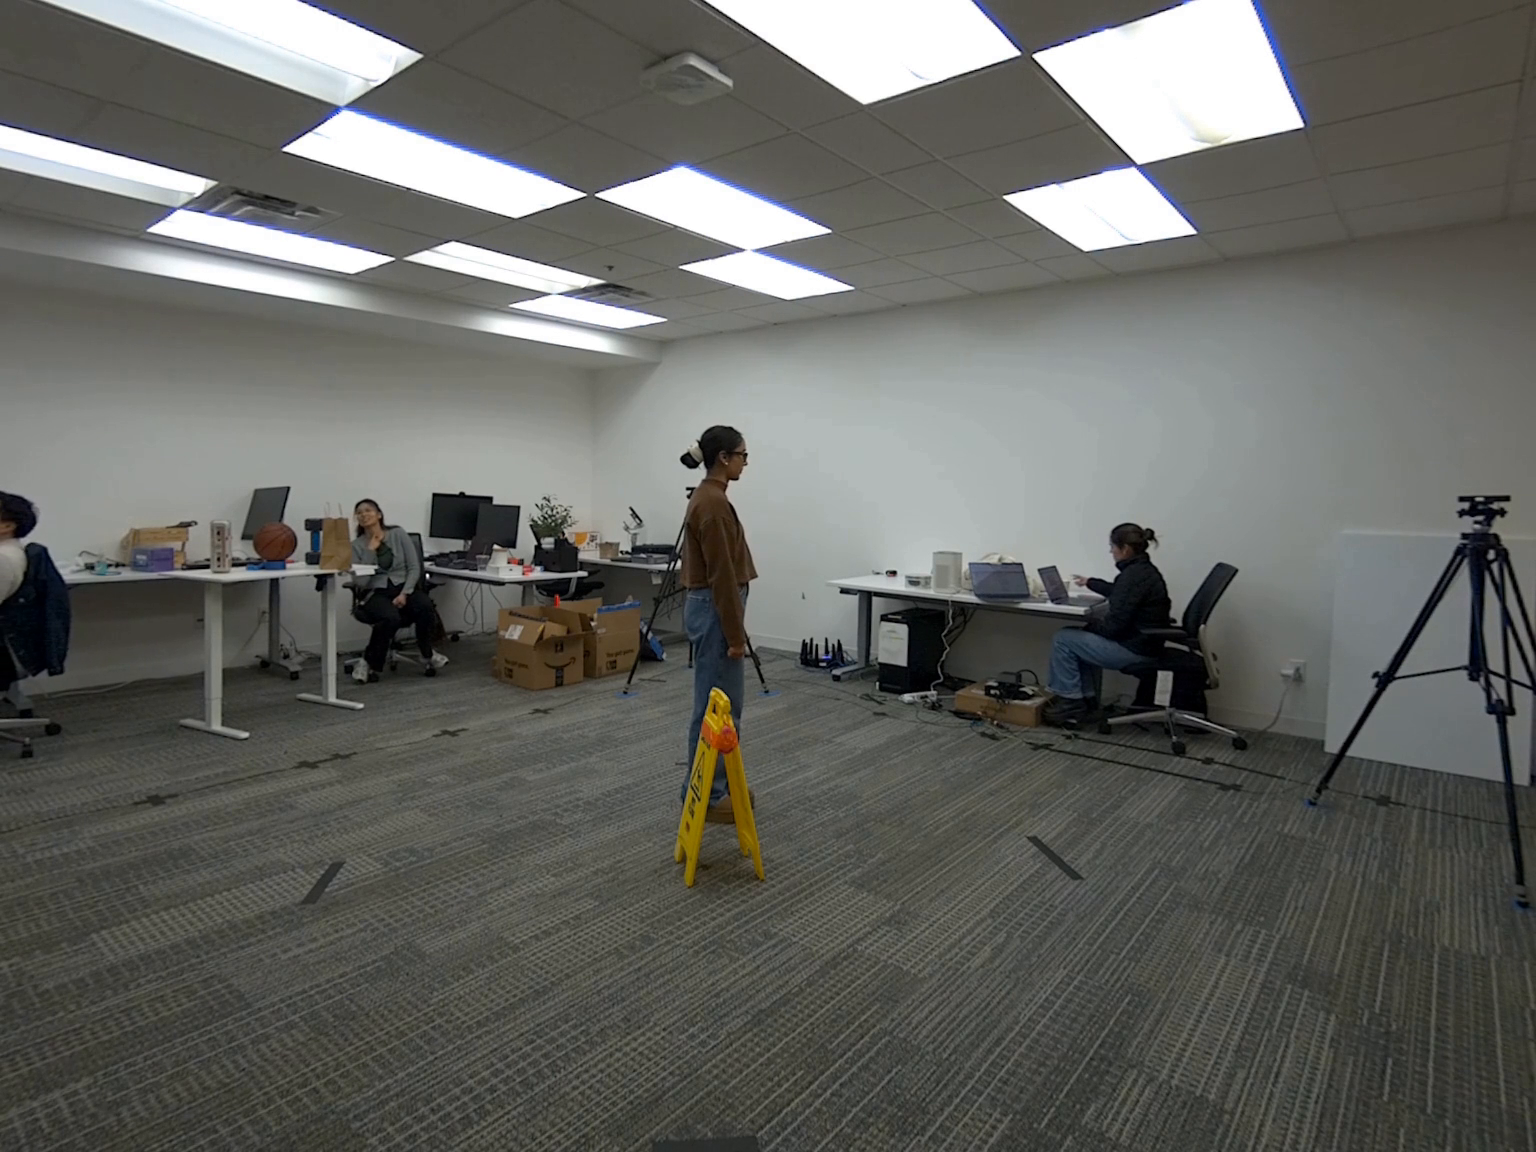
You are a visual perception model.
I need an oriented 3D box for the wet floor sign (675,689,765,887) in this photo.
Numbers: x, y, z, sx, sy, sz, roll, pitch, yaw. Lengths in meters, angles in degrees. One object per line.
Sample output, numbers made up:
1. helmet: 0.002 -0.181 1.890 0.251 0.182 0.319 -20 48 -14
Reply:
1. wet floor sign: -0.188 0.740 3.099 0.285 0.644 0.288 0 4 -16
